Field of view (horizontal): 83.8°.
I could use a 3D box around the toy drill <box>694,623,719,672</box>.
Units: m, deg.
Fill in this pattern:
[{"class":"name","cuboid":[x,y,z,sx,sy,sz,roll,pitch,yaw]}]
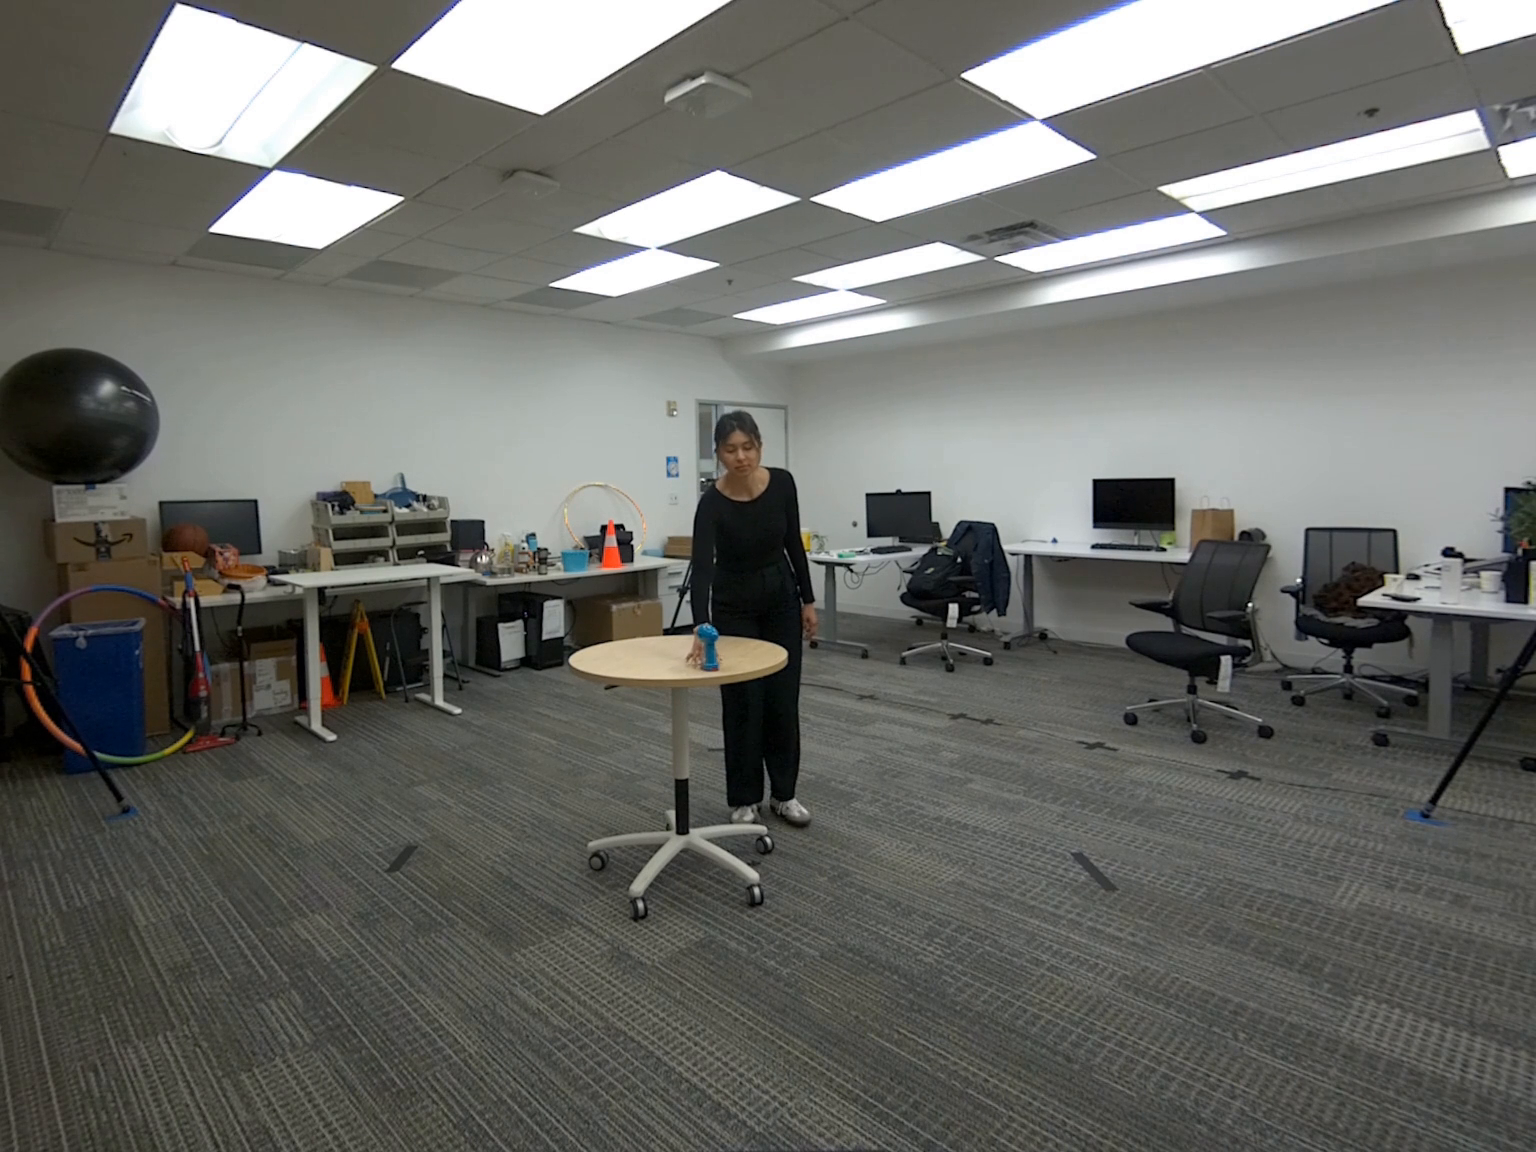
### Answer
[{"class":"toy drill","cuboid":[-0.209,0.228,2.788,0.060,0.145,0.174,-5,5,-27]}]
